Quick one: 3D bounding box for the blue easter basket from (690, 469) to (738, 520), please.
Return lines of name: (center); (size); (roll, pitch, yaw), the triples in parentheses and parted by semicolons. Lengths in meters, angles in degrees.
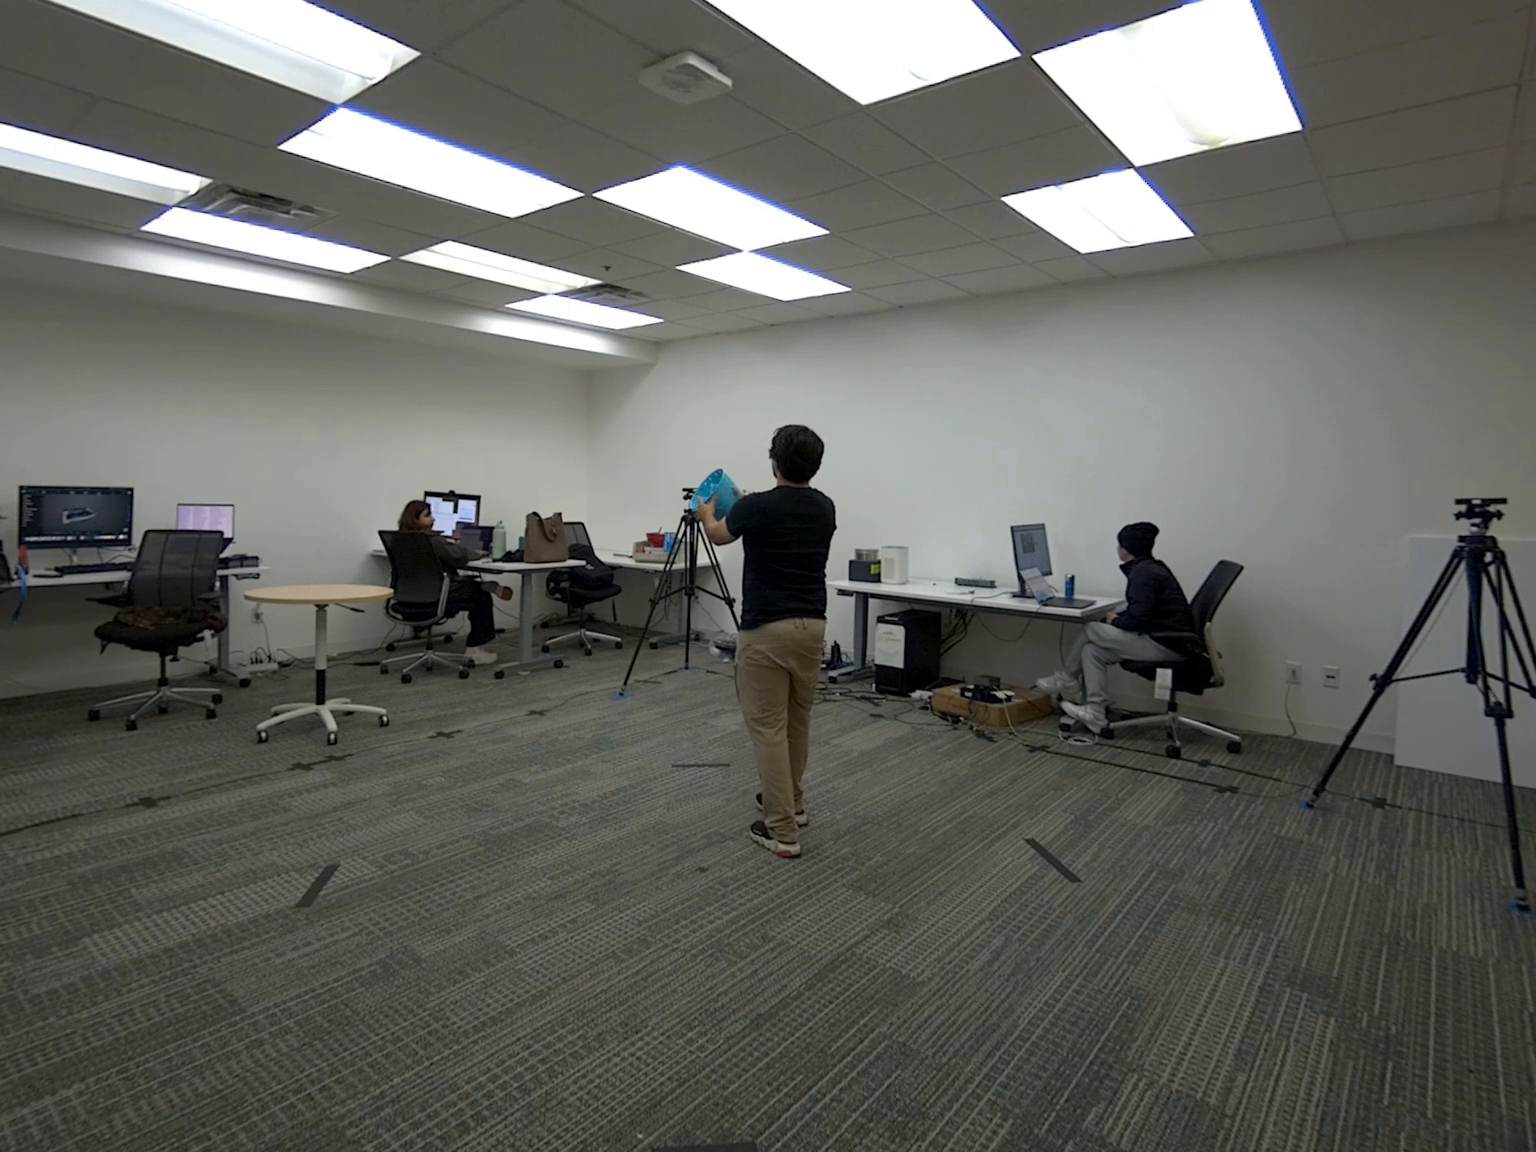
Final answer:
blue easter basket: (-0.239, -0.362, 3.910); (0.151, 0.244, 0.250); (37, -11, -23)
